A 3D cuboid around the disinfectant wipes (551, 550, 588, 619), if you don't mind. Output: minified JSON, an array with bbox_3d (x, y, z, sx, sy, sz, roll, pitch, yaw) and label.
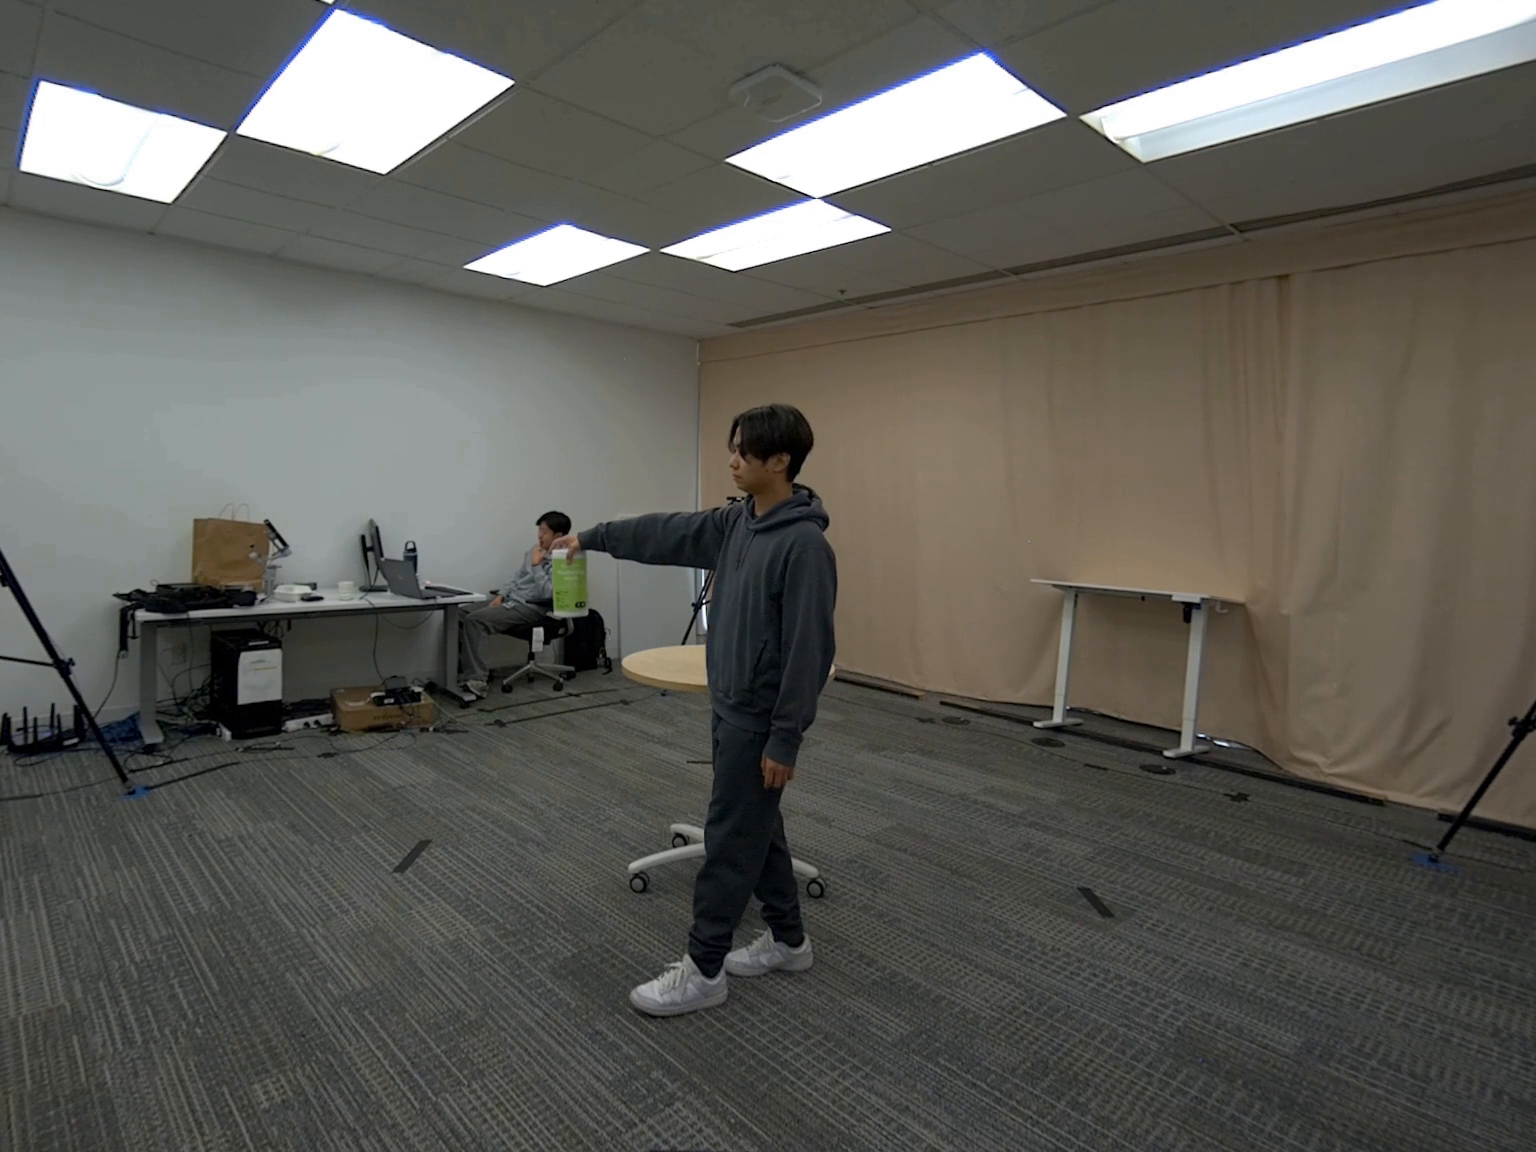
[{"bbox_3d":[-0.638,0.023,2.688,0.118,0.217,0.118,-1,4,-1],"label":"disinfectant wipes"}]
